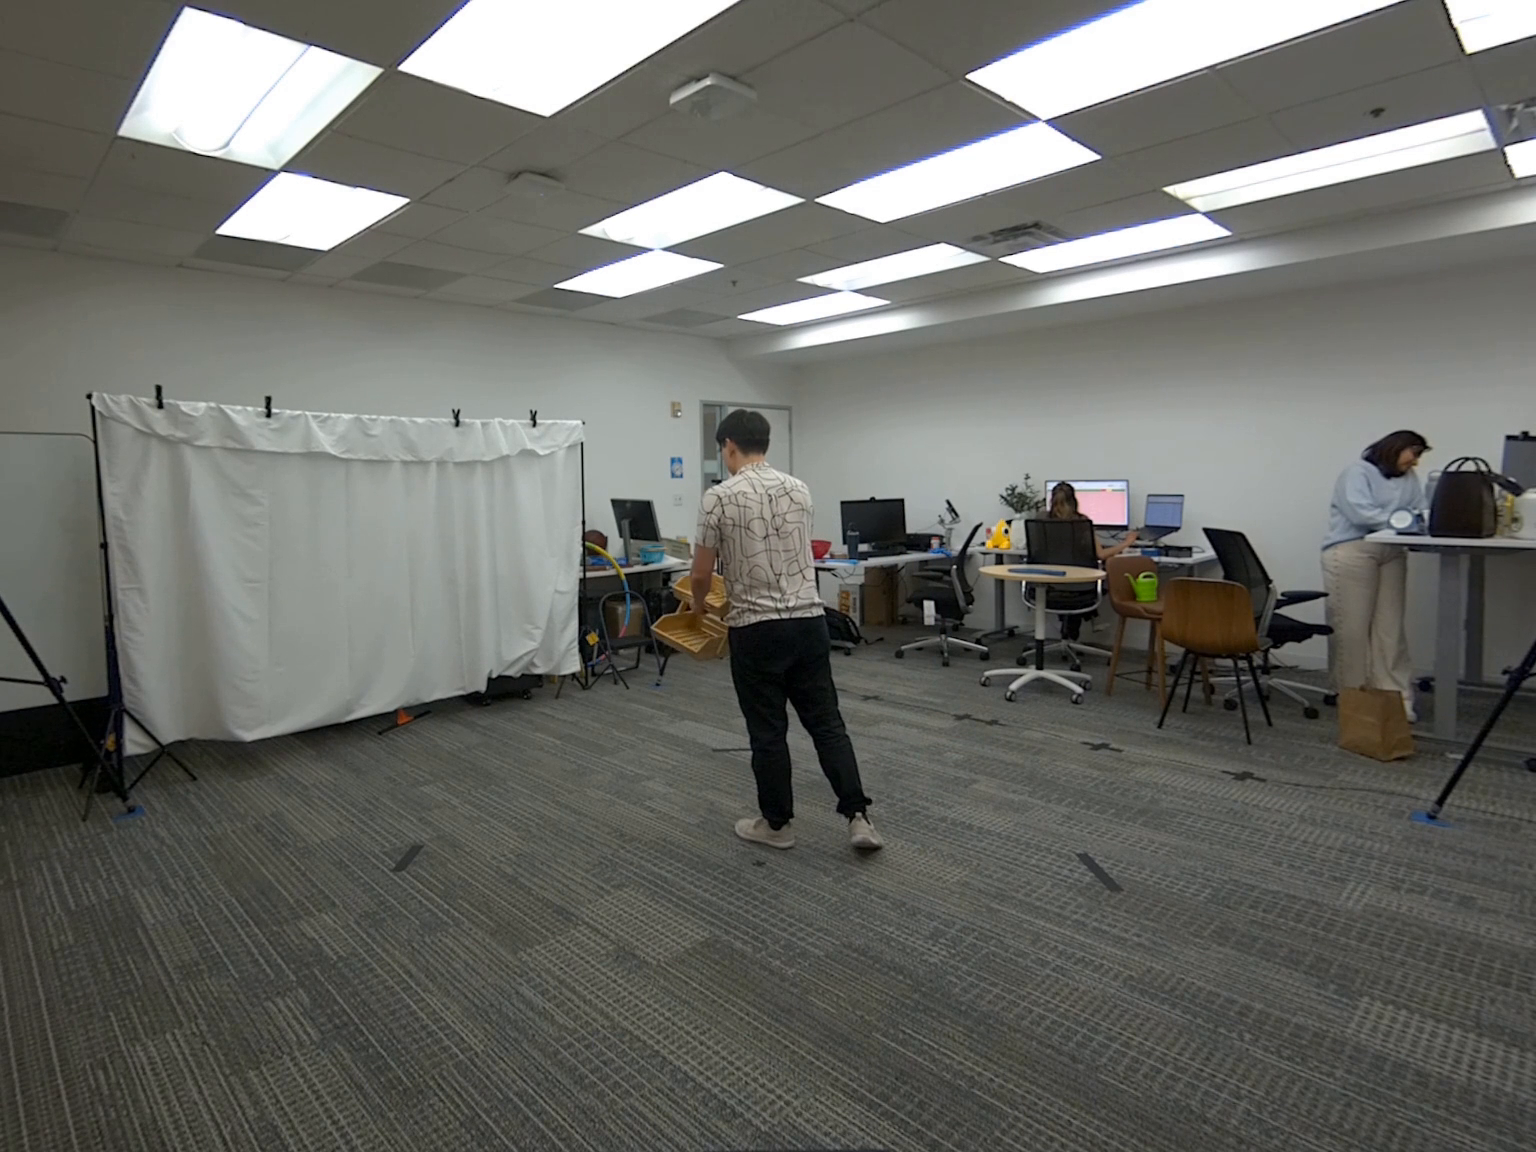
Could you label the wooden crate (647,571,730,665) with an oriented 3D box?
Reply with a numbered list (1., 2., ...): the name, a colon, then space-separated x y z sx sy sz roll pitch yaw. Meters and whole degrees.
1. wooden crate: -0.264 0.156 3.527 0.294 0.271 0.336 -4 18 -44
